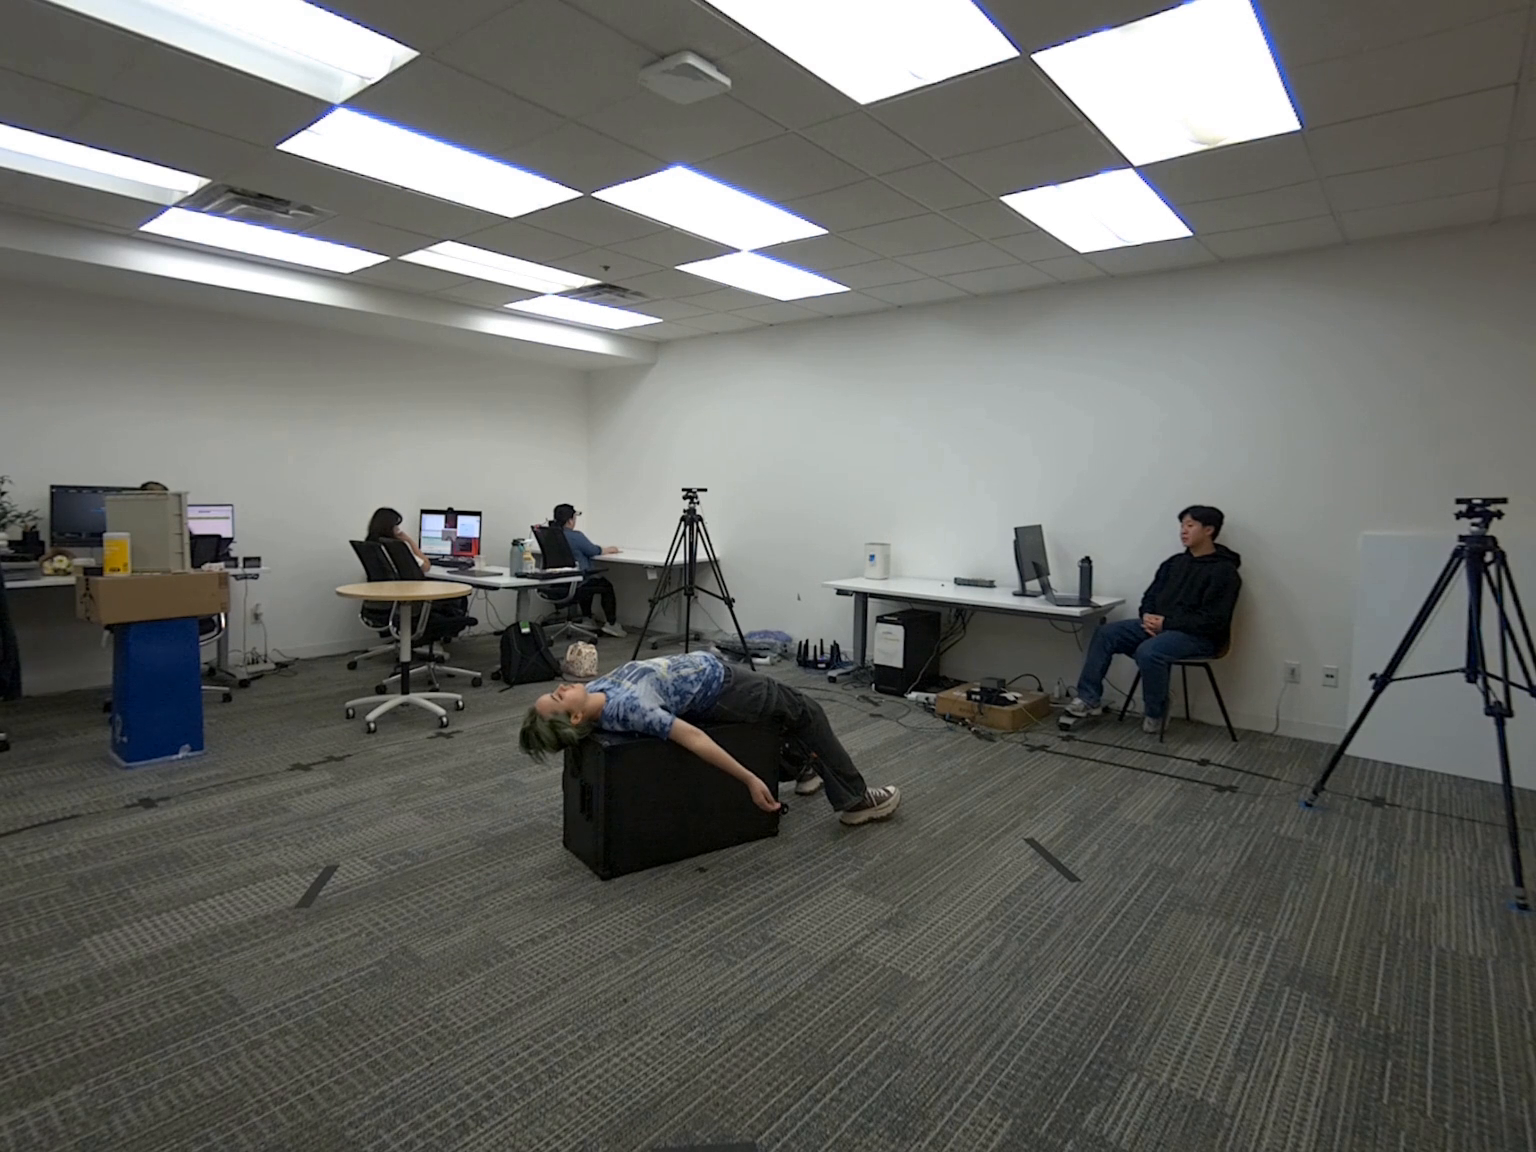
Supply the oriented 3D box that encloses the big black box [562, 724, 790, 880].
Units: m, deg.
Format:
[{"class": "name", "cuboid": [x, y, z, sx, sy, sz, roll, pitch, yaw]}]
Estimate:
[{"class": "big black box", "cuboid": [-0.364, 0.800, 3.368, 0.837, 0.520, 0.409, -2, 4, -34]}]
